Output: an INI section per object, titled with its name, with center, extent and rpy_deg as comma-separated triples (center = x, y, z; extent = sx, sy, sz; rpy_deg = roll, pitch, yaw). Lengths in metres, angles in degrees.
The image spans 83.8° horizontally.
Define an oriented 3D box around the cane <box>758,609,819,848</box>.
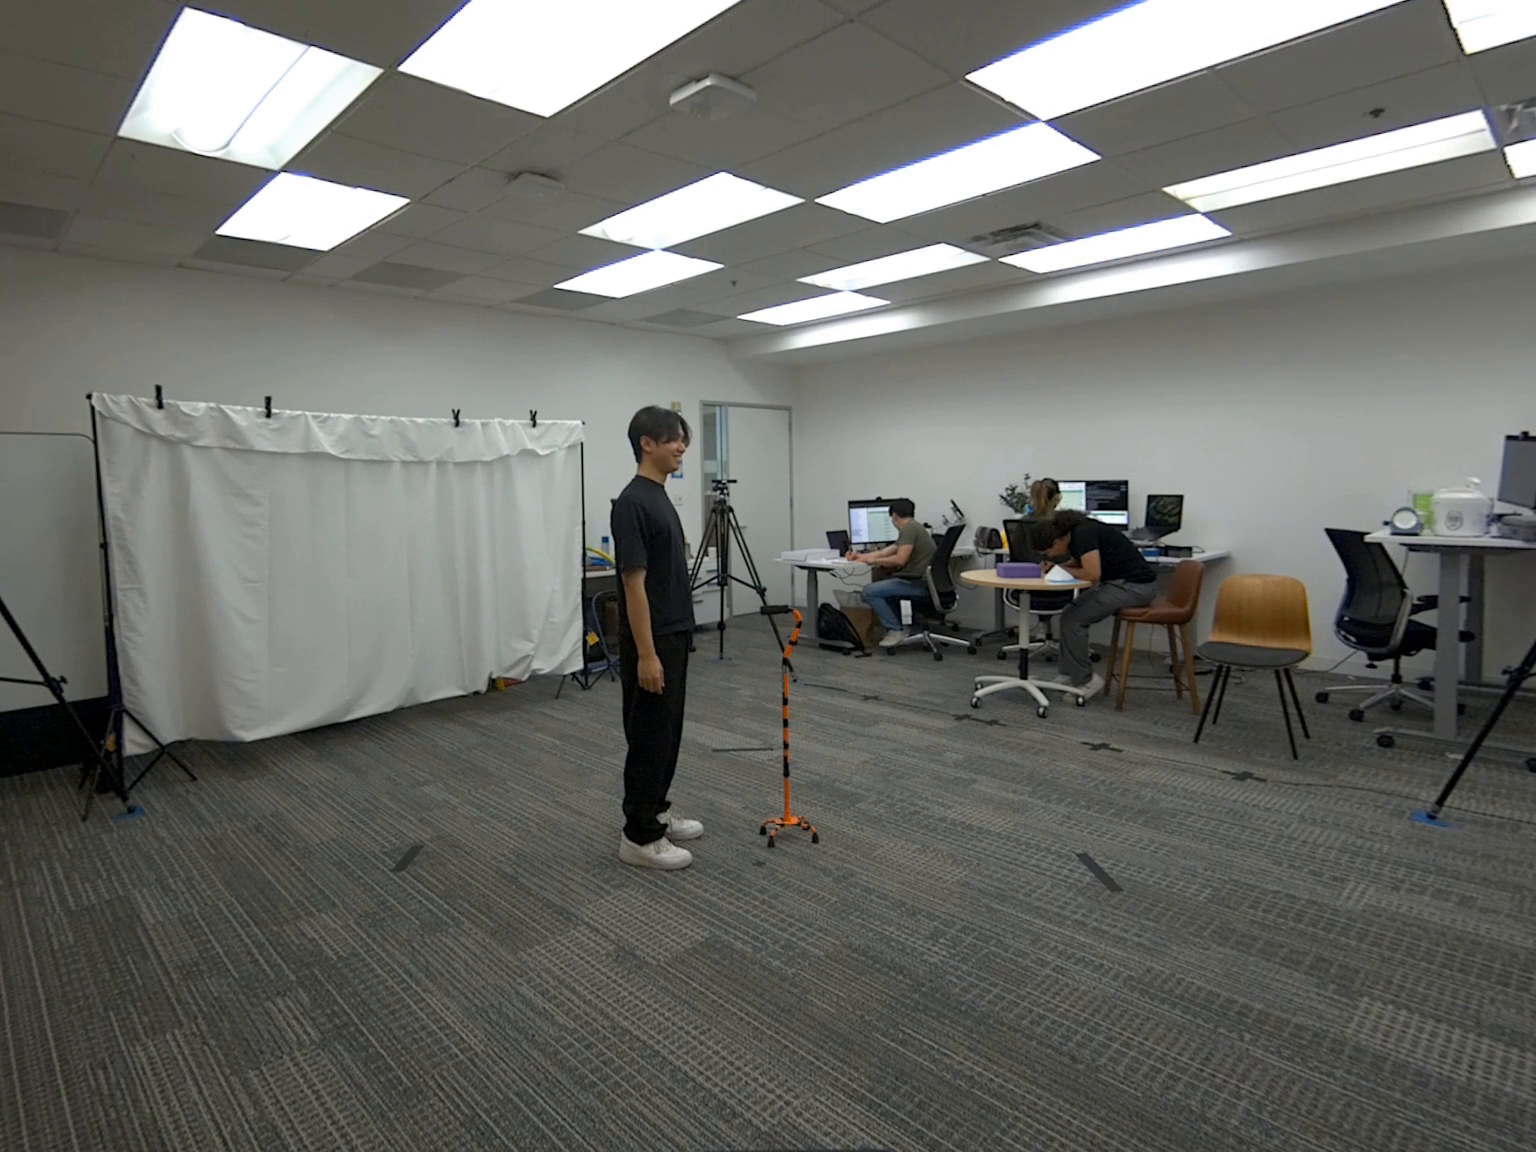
[cane]
center = 0.068, 0.563, 3.308
extent = 0.204, 0.905, 0.154
rpy_deg = -2, 4, -14
